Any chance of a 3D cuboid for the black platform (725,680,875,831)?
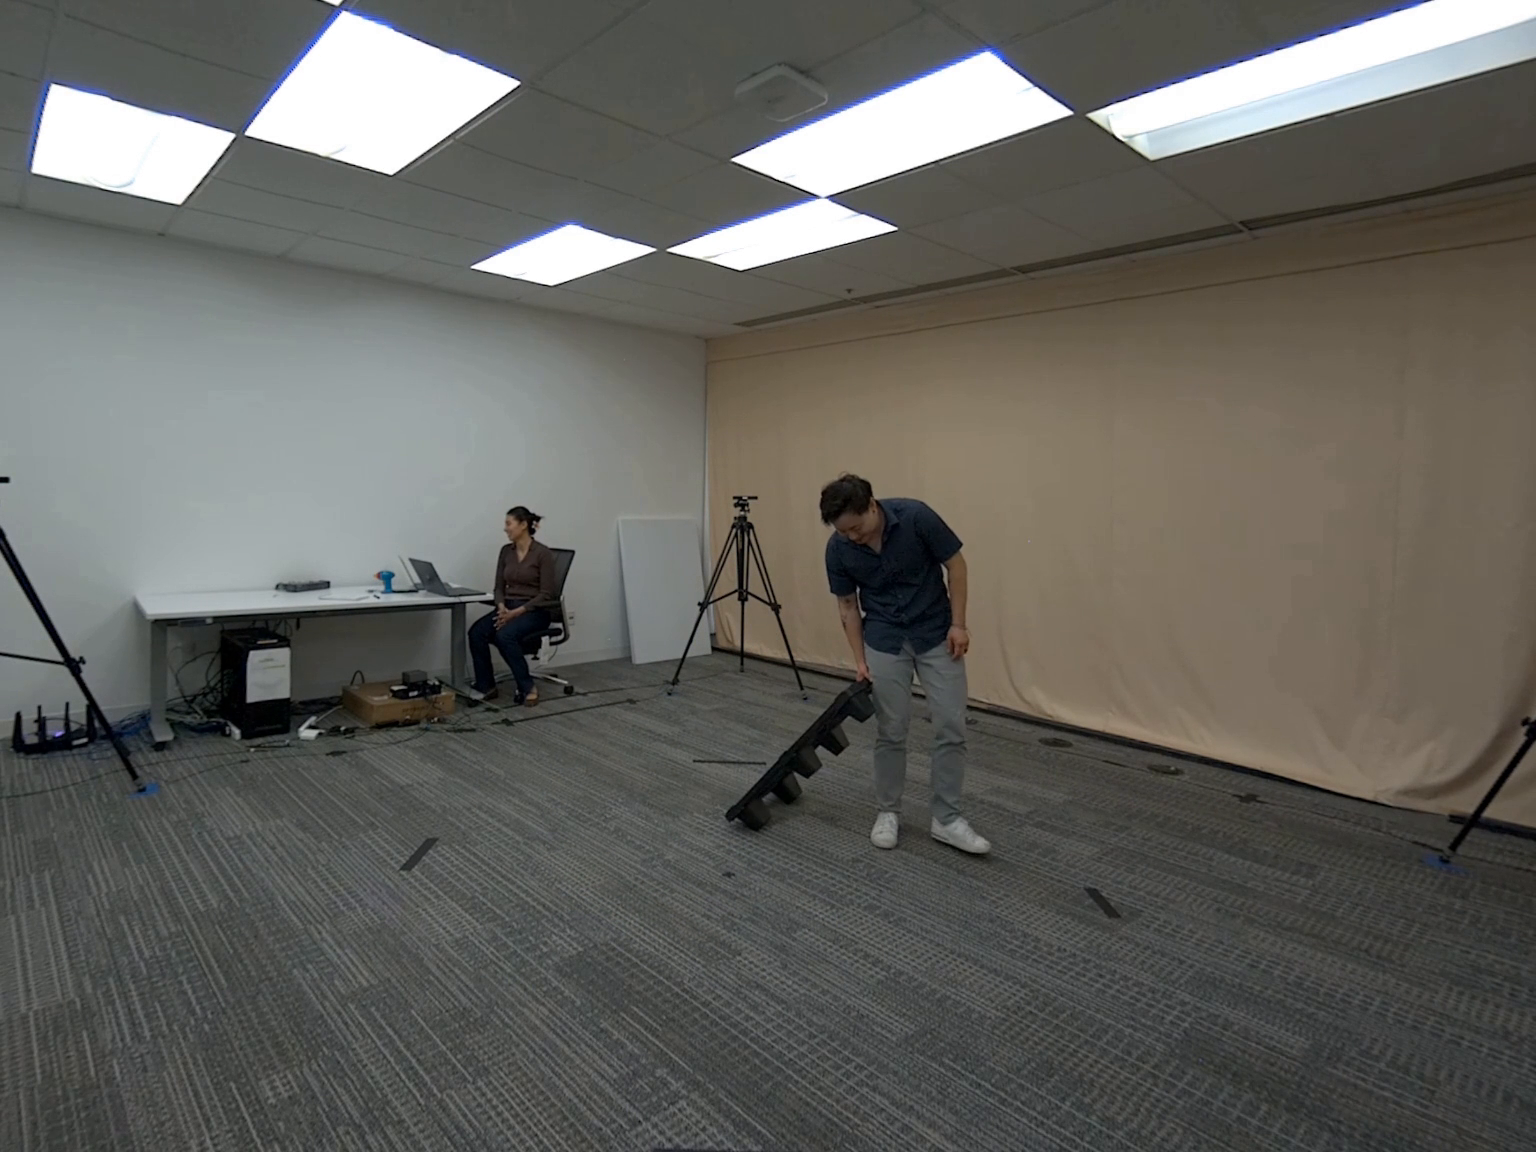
[{"bbox_3d":[0.214,0.747,3.633,0.146,0.804,0.595,45,18,15],"label":"black platform"}]
